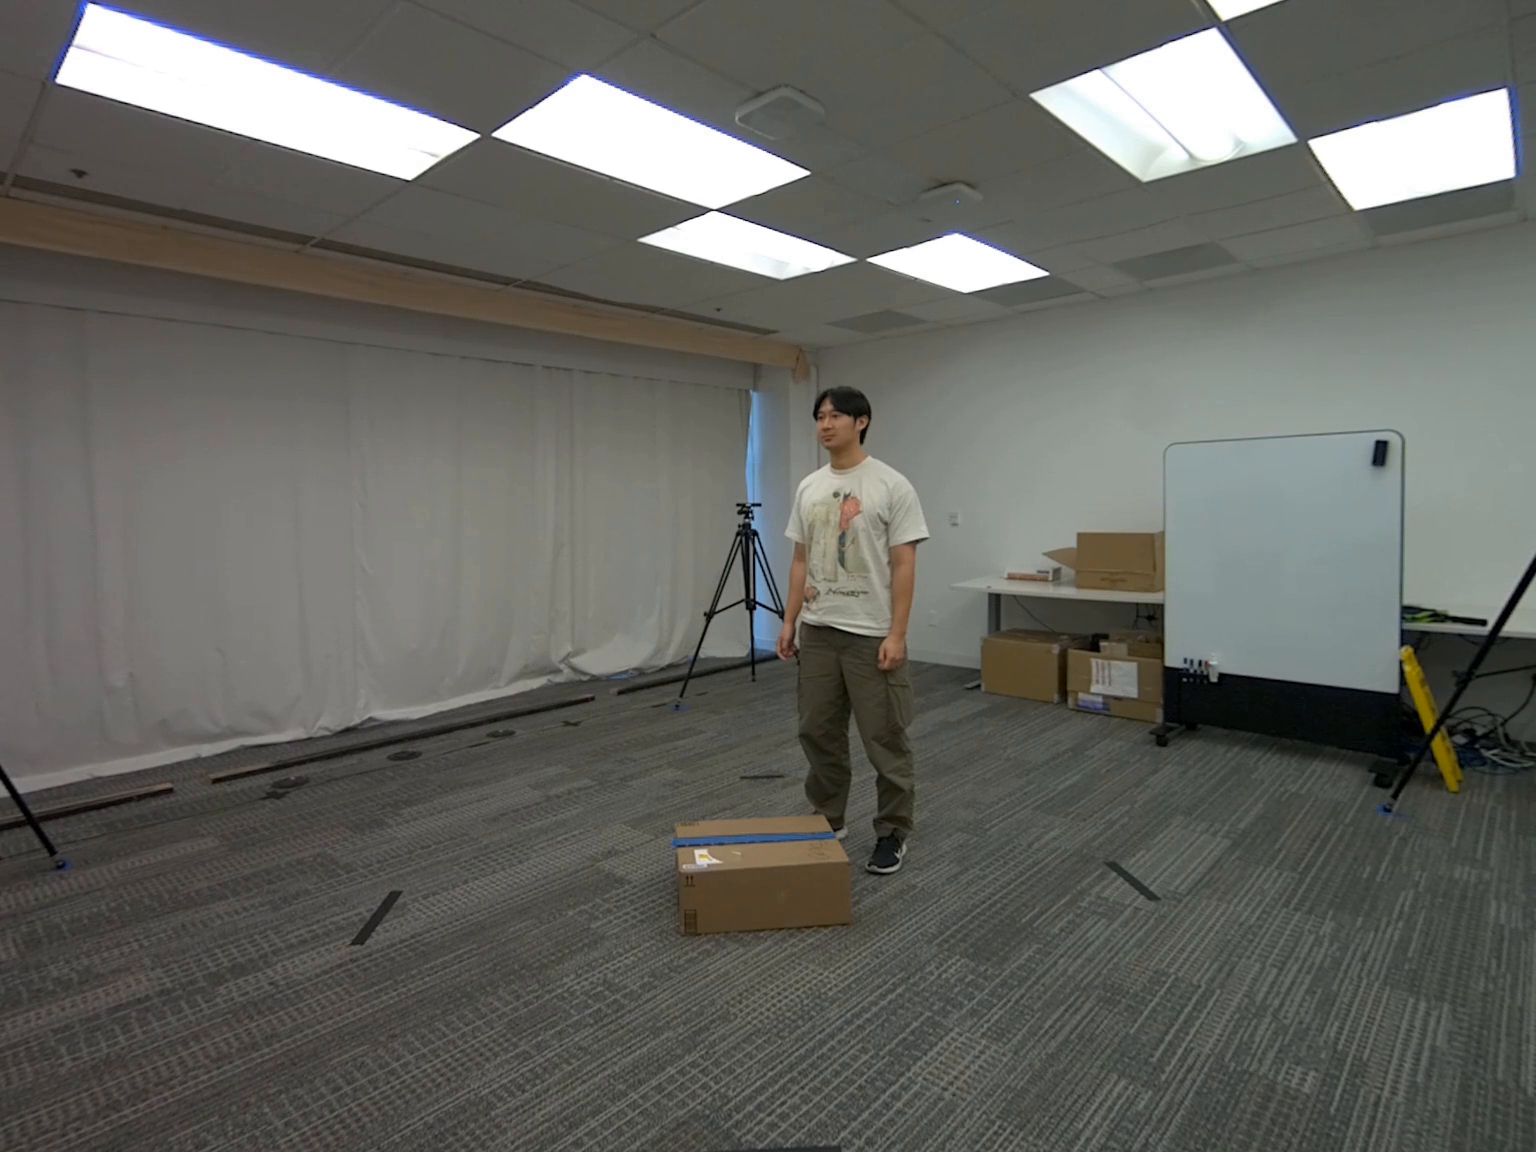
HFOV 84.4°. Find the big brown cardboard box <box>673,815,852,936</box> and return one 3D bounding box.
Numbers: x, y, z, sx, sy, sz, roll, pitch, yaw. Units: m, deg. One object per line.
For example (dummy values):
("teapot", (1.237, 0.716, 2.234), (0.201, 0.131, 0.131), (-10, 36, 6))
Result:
("big brown cardboard box", (-0.040, 1.026, 2.940), (0.585, 0.232, 0.421), (0, 5, -7))
